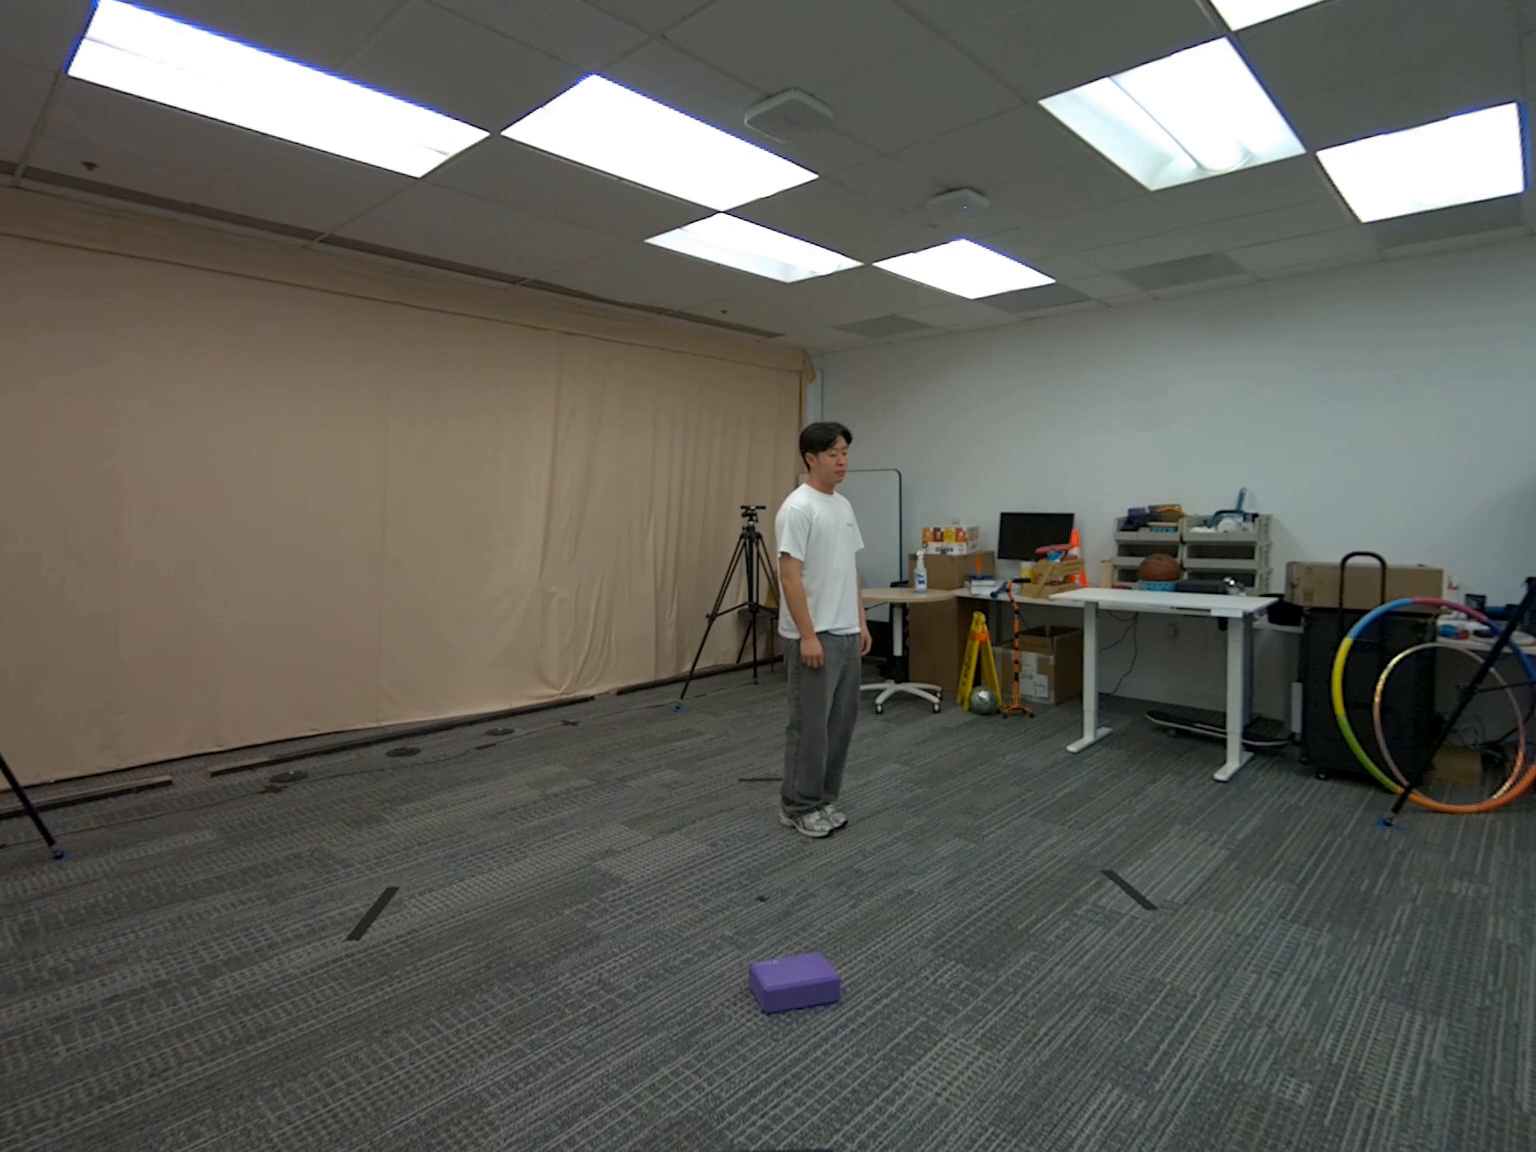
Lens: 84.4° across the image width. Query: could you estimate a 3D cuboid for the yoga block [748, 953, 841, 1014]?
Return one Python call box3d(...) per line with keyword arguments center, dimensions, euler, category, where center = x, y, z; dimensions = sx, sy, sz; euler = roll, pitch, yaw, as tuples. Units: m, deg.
box3d(center=(0.082, 1.156, 2.391), dimensions=(0.225, 0.076, 0.152), euler=(-1, 4, -17), category="yoga block")
